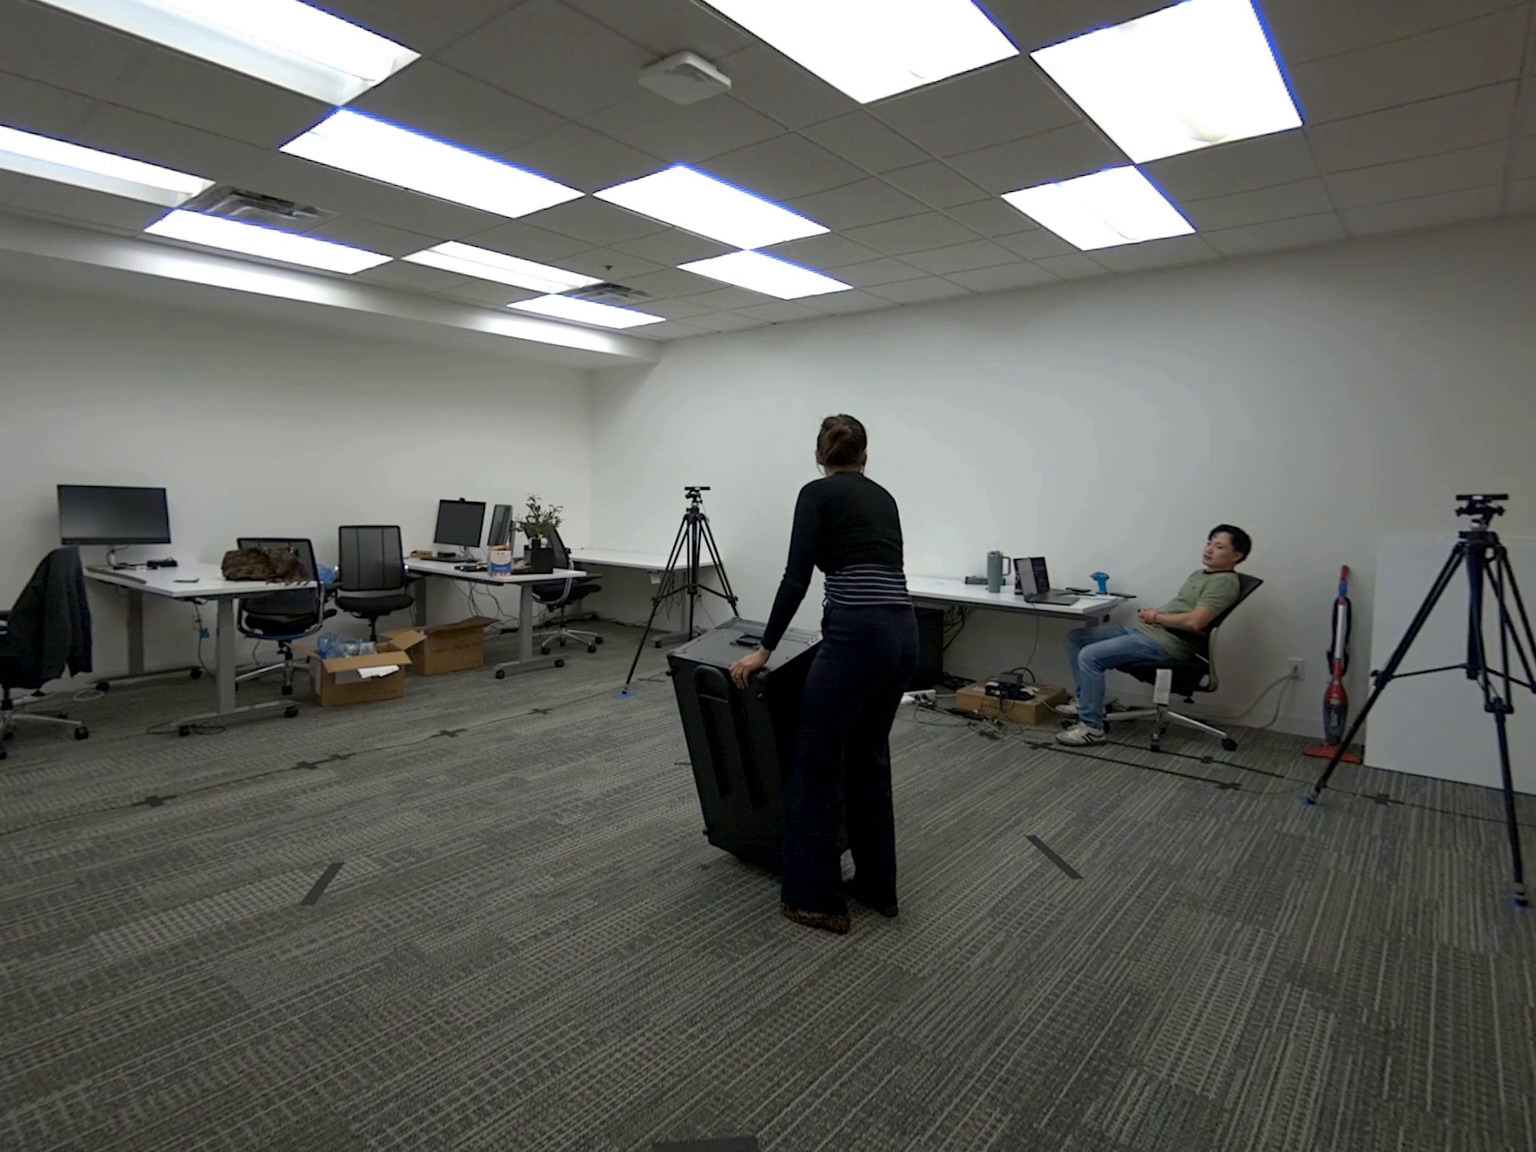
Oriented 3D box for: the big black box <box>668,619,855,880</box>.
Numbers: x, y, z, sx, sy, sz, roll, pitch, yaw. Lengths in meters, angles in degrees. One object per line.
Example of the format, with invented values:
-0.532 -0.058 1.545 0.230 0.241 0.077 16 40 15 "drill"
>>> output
-0.034 0.580 3.040 0.389 0.849 0.539 -22 18 -41 "big black box"
